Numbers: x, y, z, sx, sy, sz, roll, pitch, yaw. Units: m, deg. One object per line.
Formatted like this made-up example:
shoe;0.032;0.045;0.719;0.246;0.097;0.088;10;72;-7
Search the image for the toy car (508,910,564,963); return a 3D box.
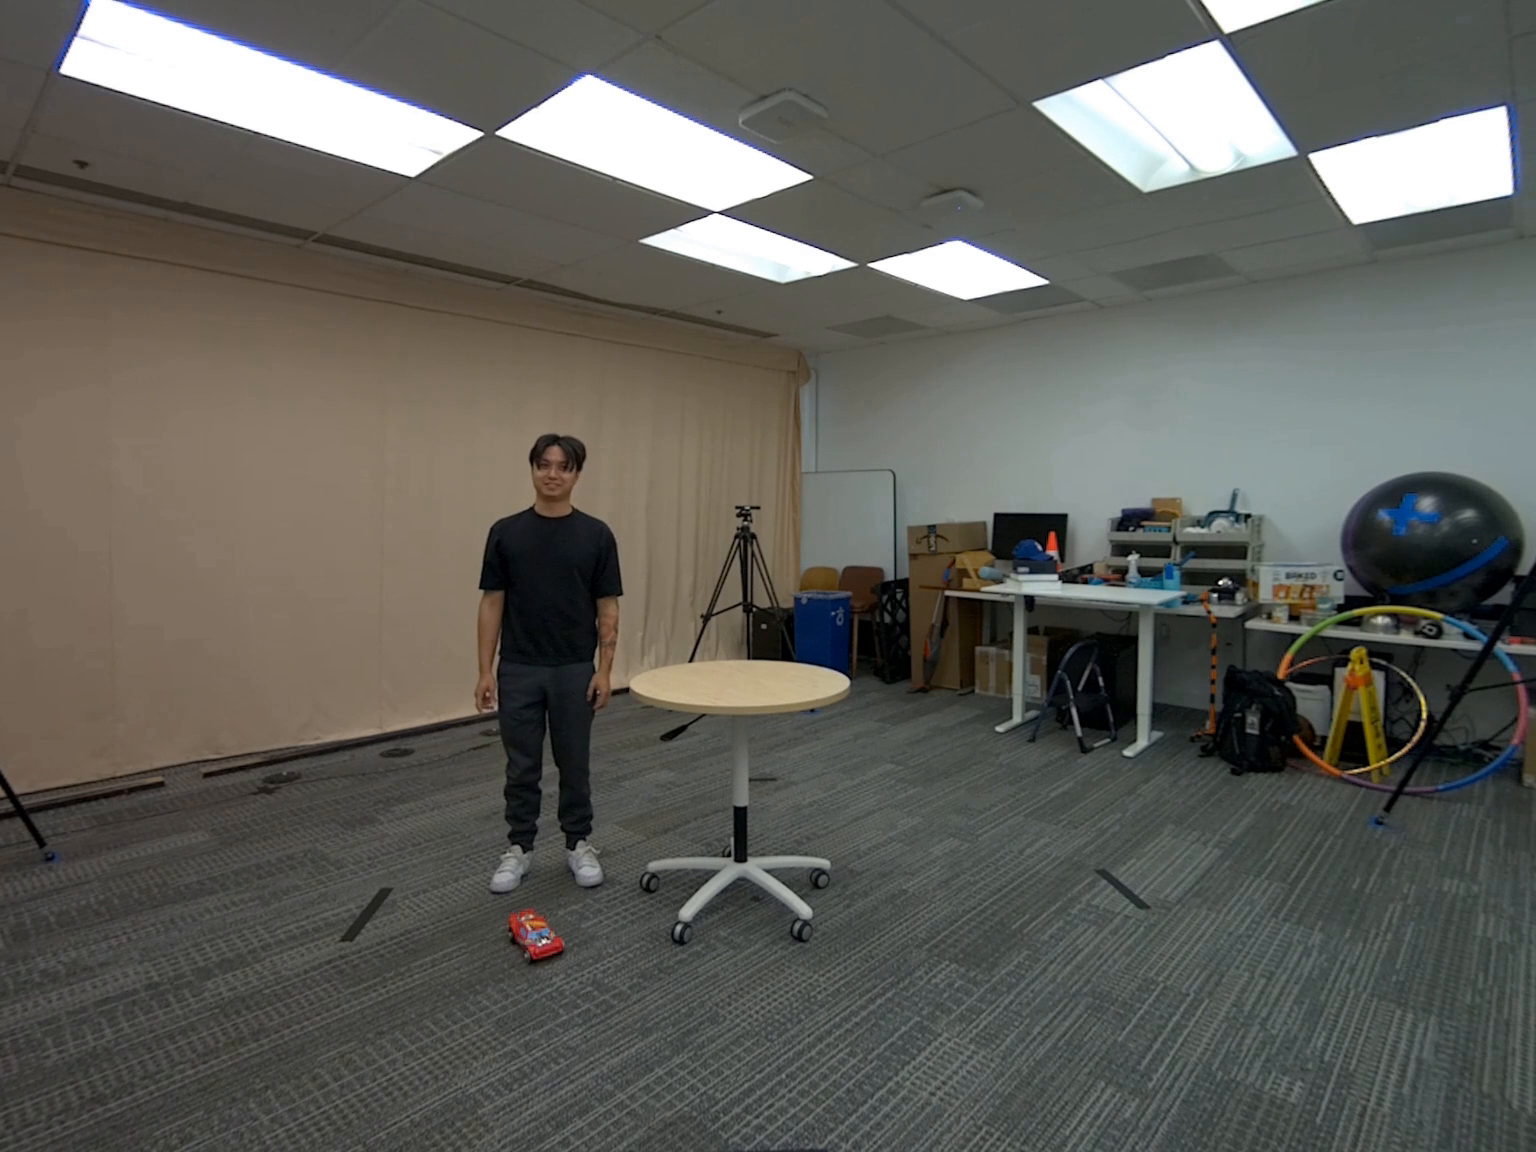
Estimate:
toy car;-0.750;1.147;2.669;0.126;0.082;0.264;-5;17;-35
